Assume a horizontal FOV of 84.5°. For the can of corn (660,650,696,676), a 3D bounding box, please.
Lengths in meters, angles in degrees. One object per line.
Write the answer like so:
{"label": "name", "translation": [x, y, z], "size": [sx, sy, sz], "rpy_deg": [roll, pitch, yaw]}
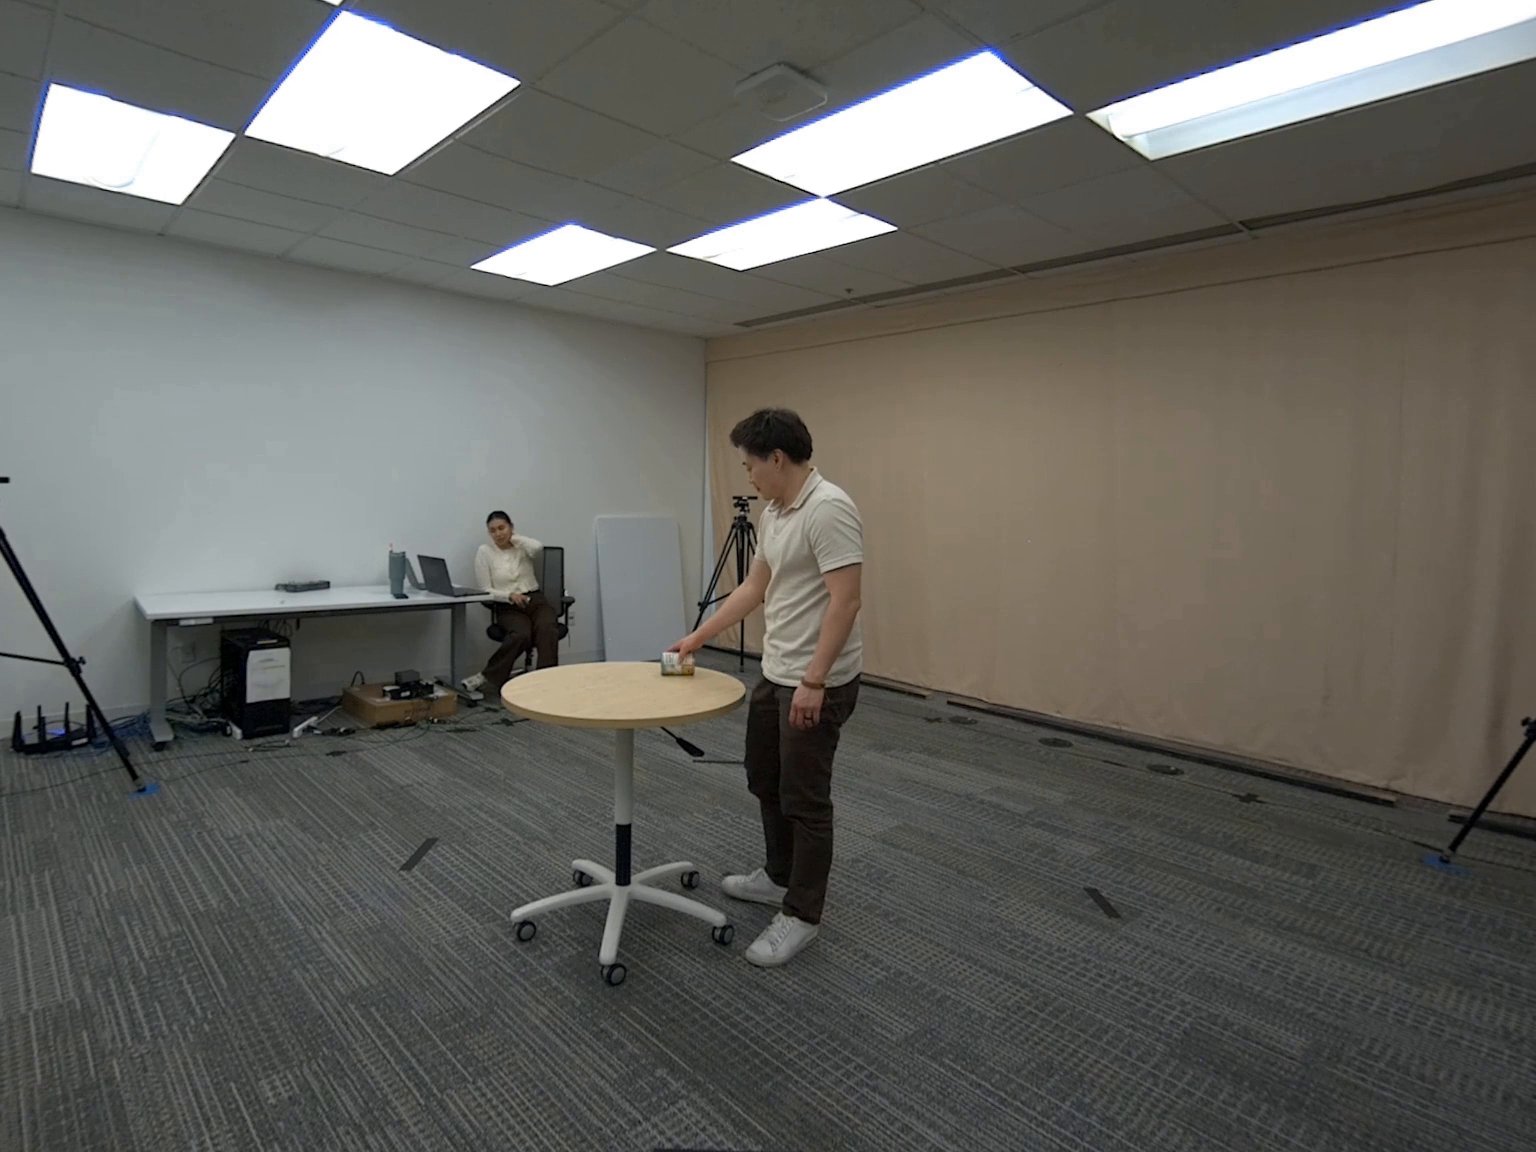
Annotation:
{"label": "can of corn", "translation": [-0.311, 0.300, 2.863], "size": [0.111, 0.074, 0.074], "rpy_deg": [4, 4, -4]}
